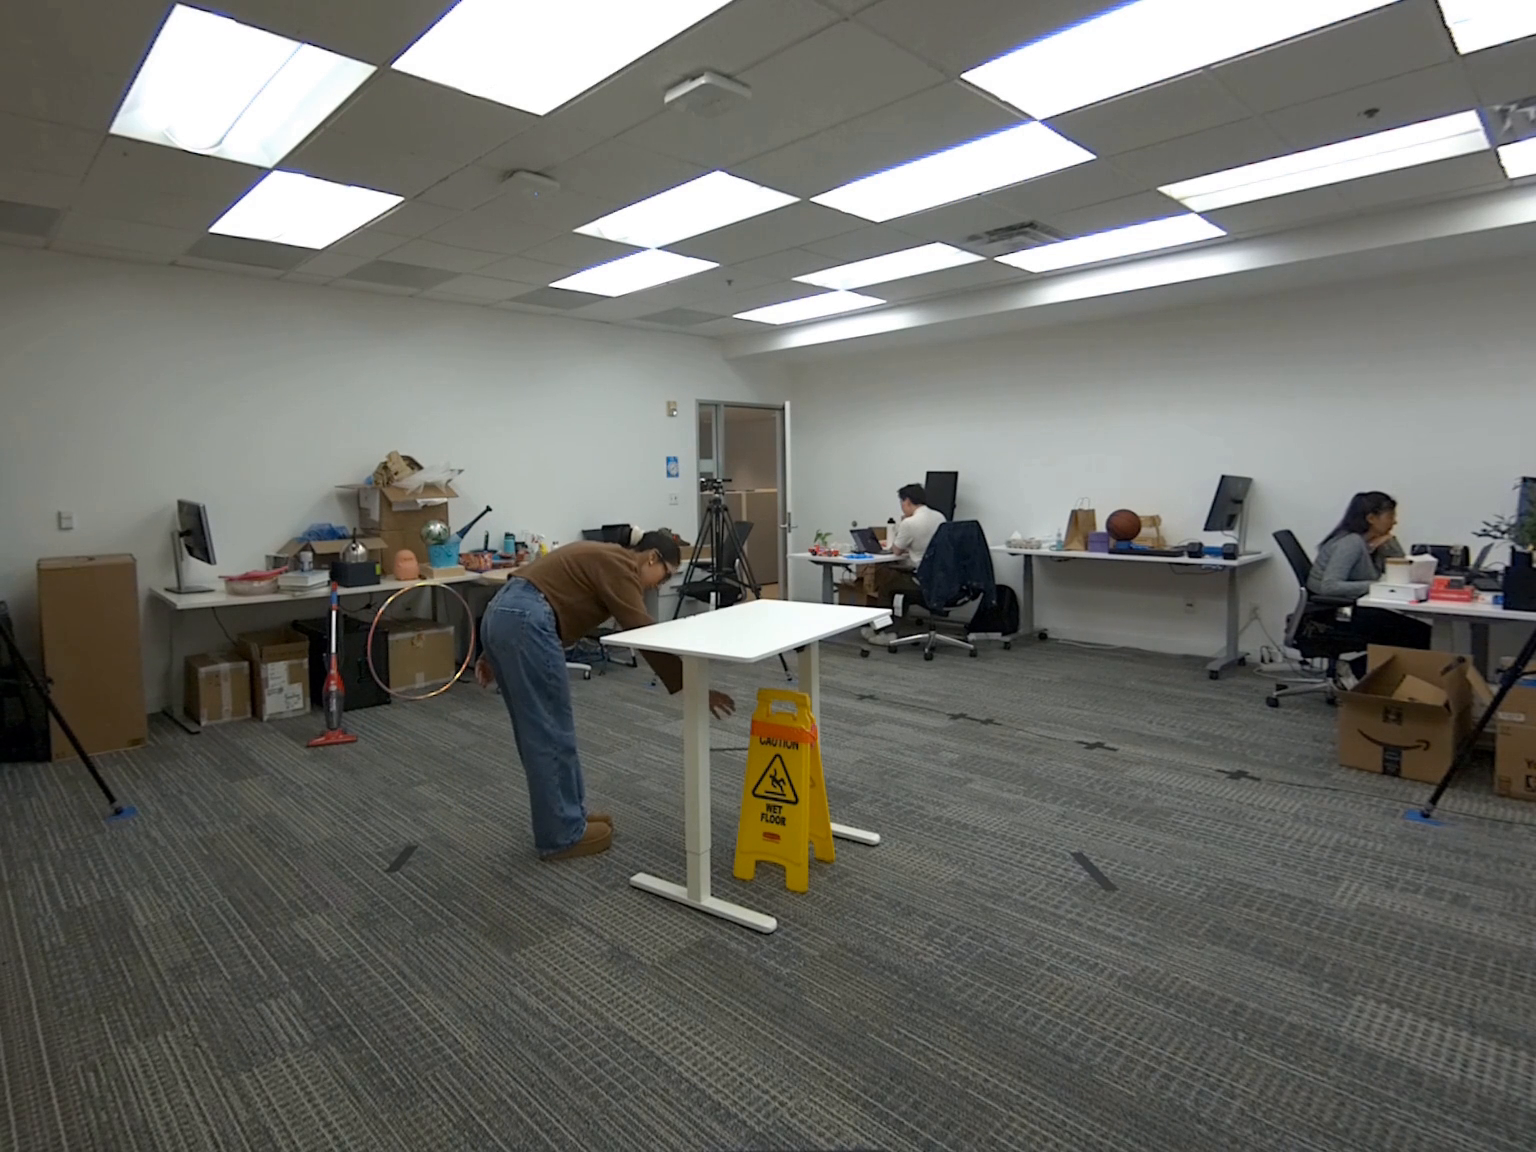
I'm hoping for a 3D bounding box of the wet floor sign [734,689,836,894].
[{"bbox_3d":[0.058,0.723,3.033,0.289,0.643,0.284,1,5,26],"label":"wet floor sign"}]
